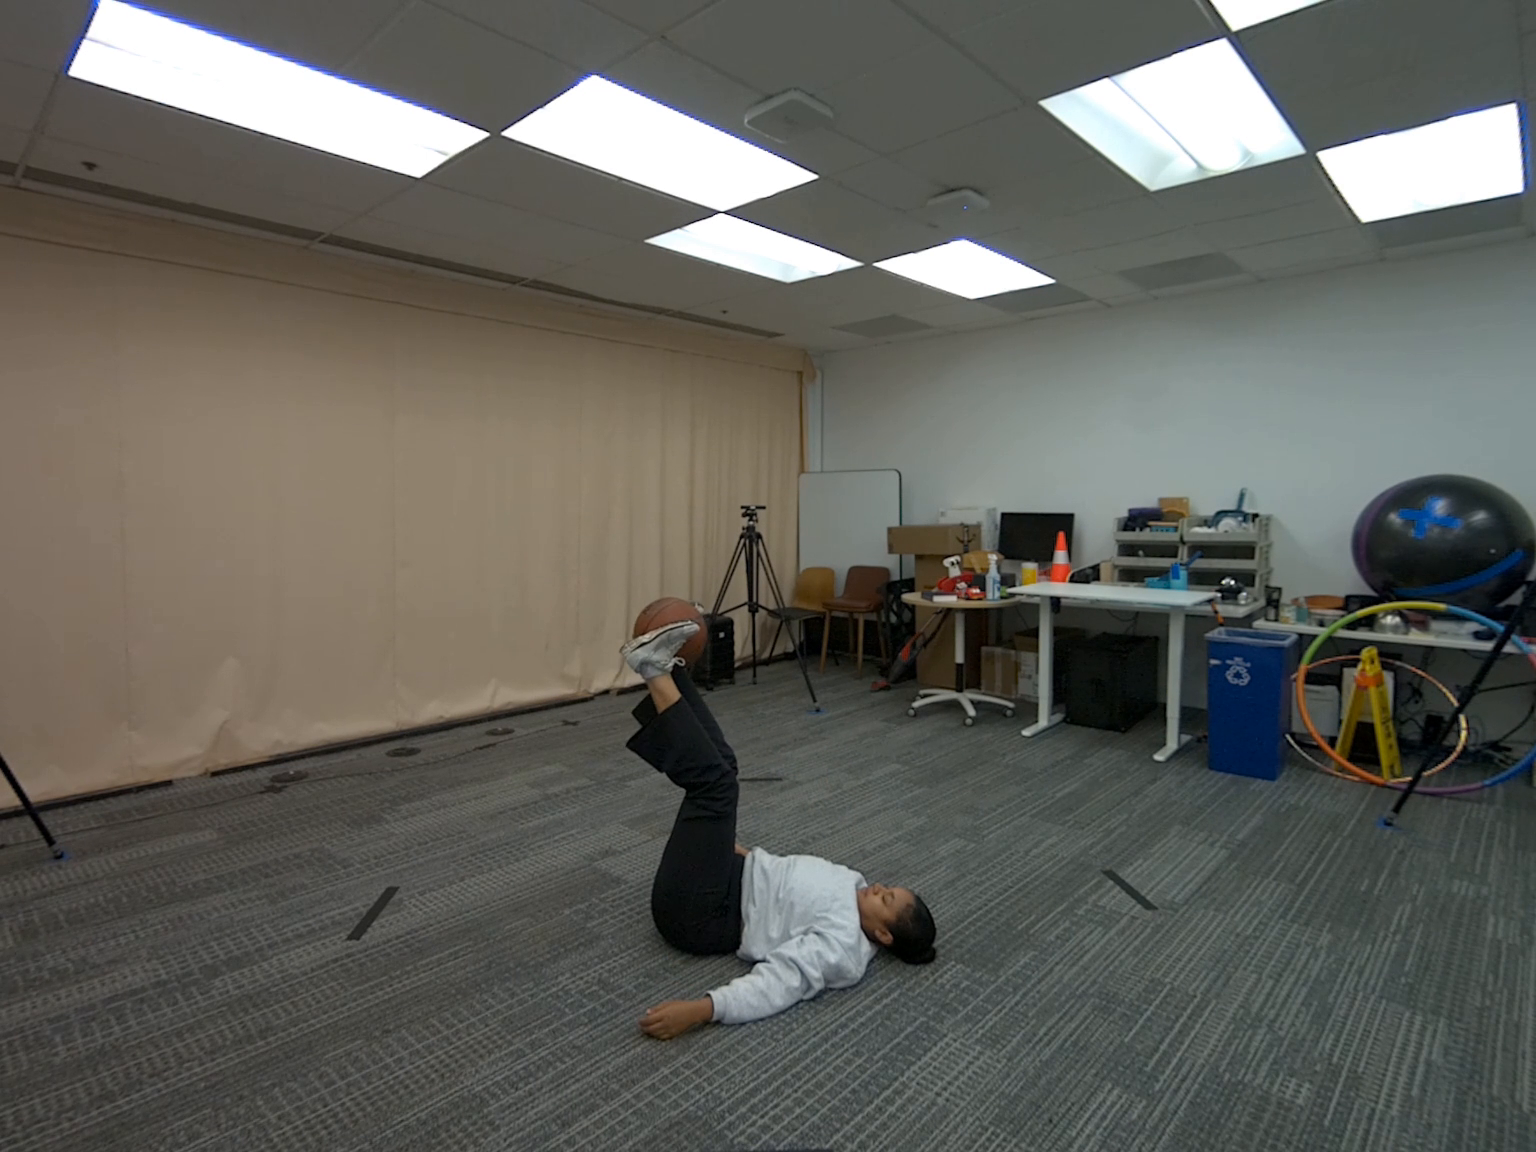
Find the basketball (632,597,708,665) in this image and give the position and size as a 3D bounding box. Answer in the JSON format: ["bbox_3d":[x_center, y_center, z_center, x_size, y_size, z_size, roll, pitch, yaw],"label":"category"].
[{"bbox_3d":[-0.318,0.192,2.728,0.236,0.236,0.236,2,0,-2],"label":"basketball"}]
